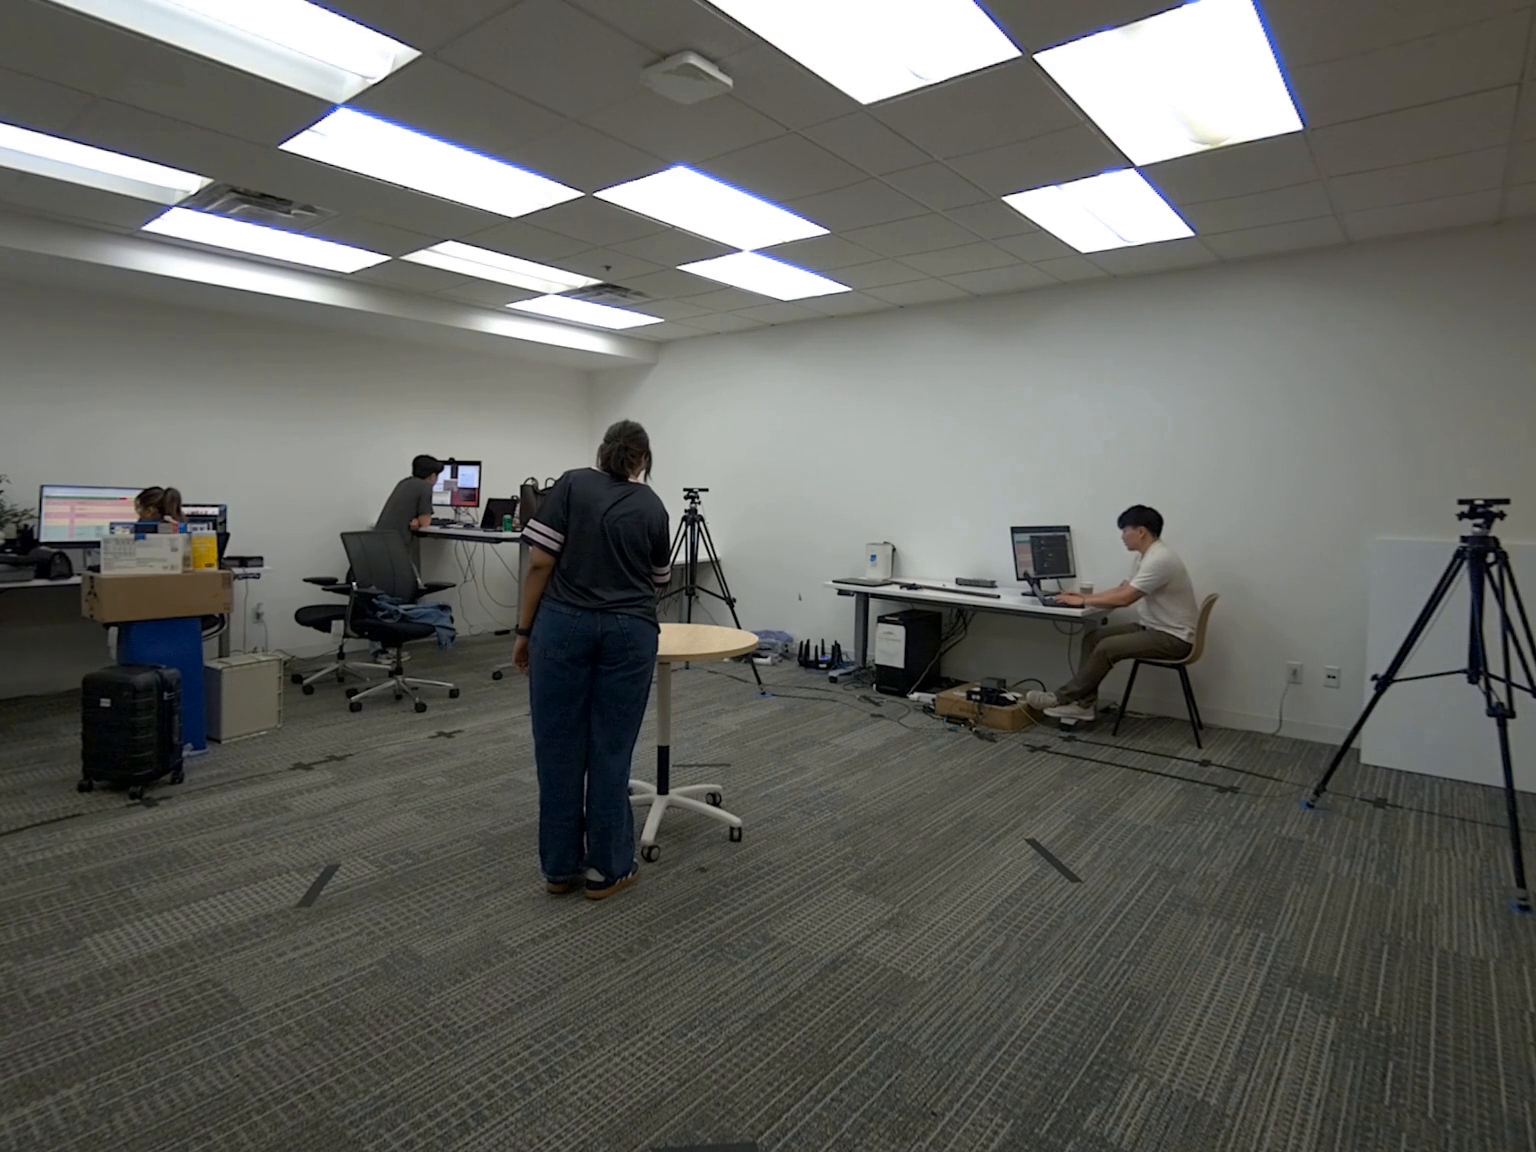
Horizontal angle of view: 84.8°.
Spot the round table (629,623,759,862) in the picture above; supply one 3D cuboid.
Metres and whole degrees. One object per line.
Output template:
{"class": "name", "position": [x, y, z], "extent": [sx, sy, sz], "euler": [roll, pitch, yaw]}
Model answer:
{"class": "round table", "position": [-0.450, 0.637, 3.483], "extent": [0.784, 0.784, 0.789], "euler": [1, 4, -2]}
